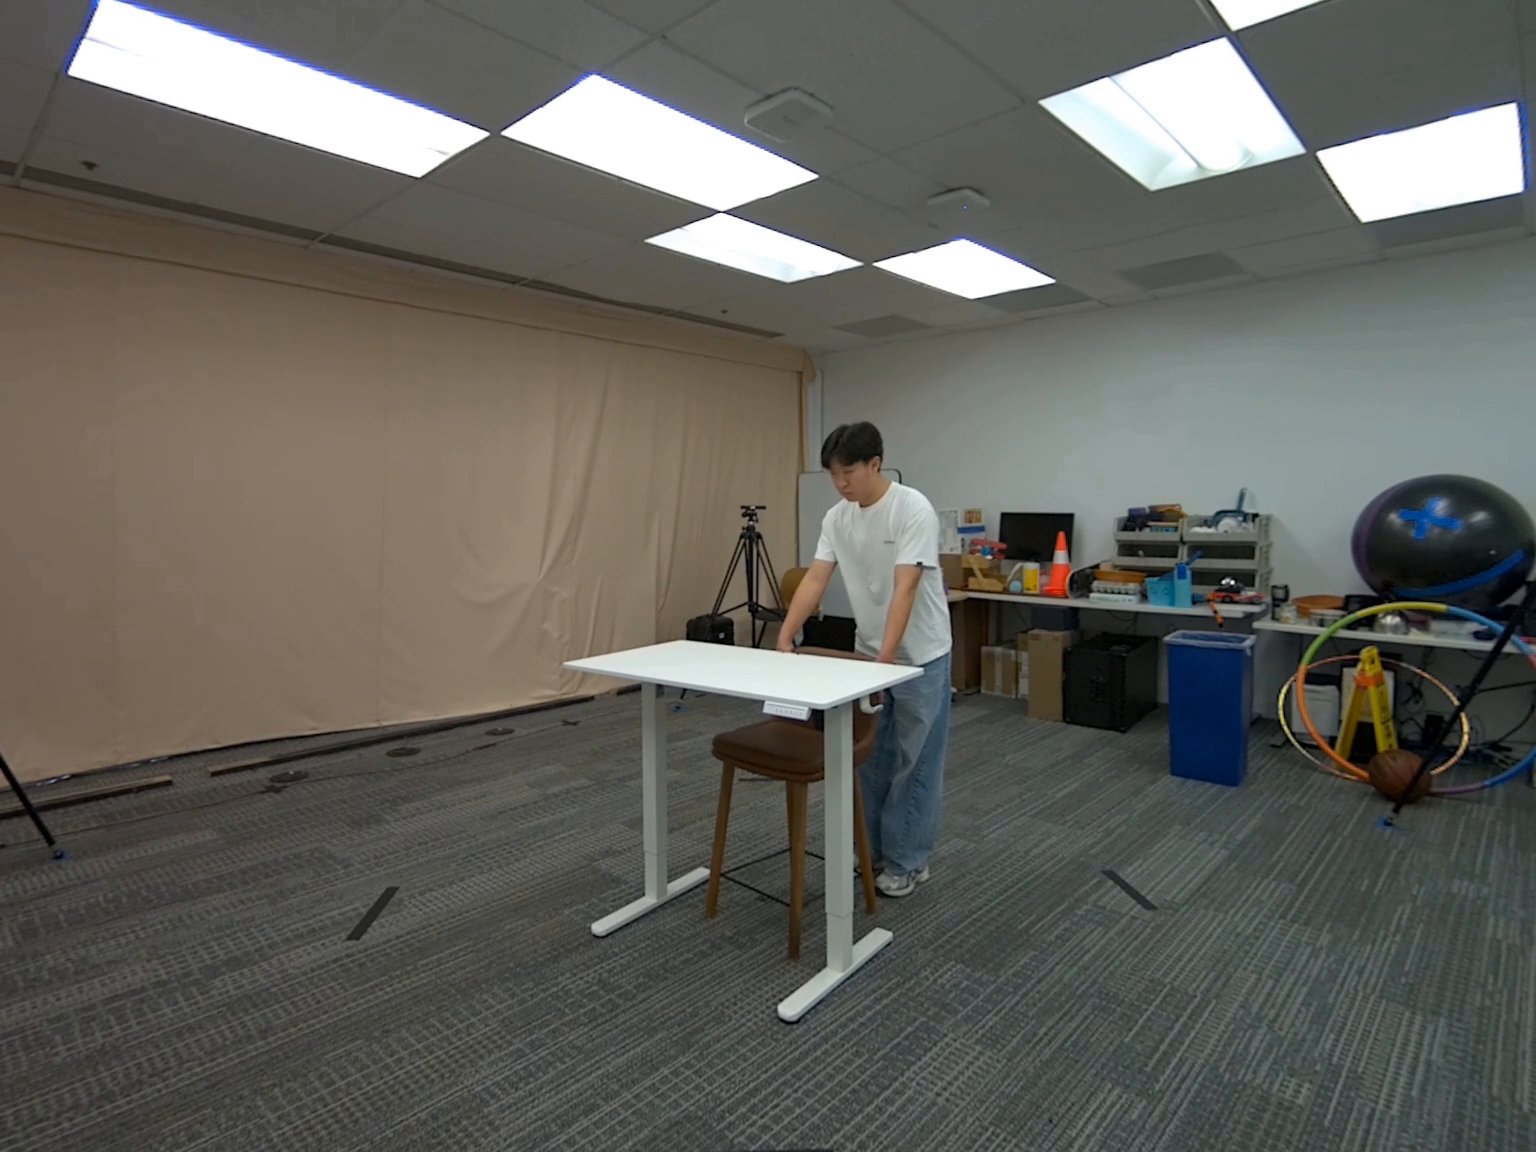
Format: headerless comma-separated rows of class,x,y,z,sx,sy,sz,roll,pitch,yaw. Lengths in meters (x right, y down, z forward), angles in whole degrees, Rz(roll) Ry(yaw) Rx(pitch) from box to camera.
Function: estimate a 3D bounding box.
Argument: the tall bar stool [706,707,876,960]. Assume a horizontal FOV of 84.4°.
tall bar stool,0.105,0.715,2.850,0.453,0.889,0.472,0,2,-44
